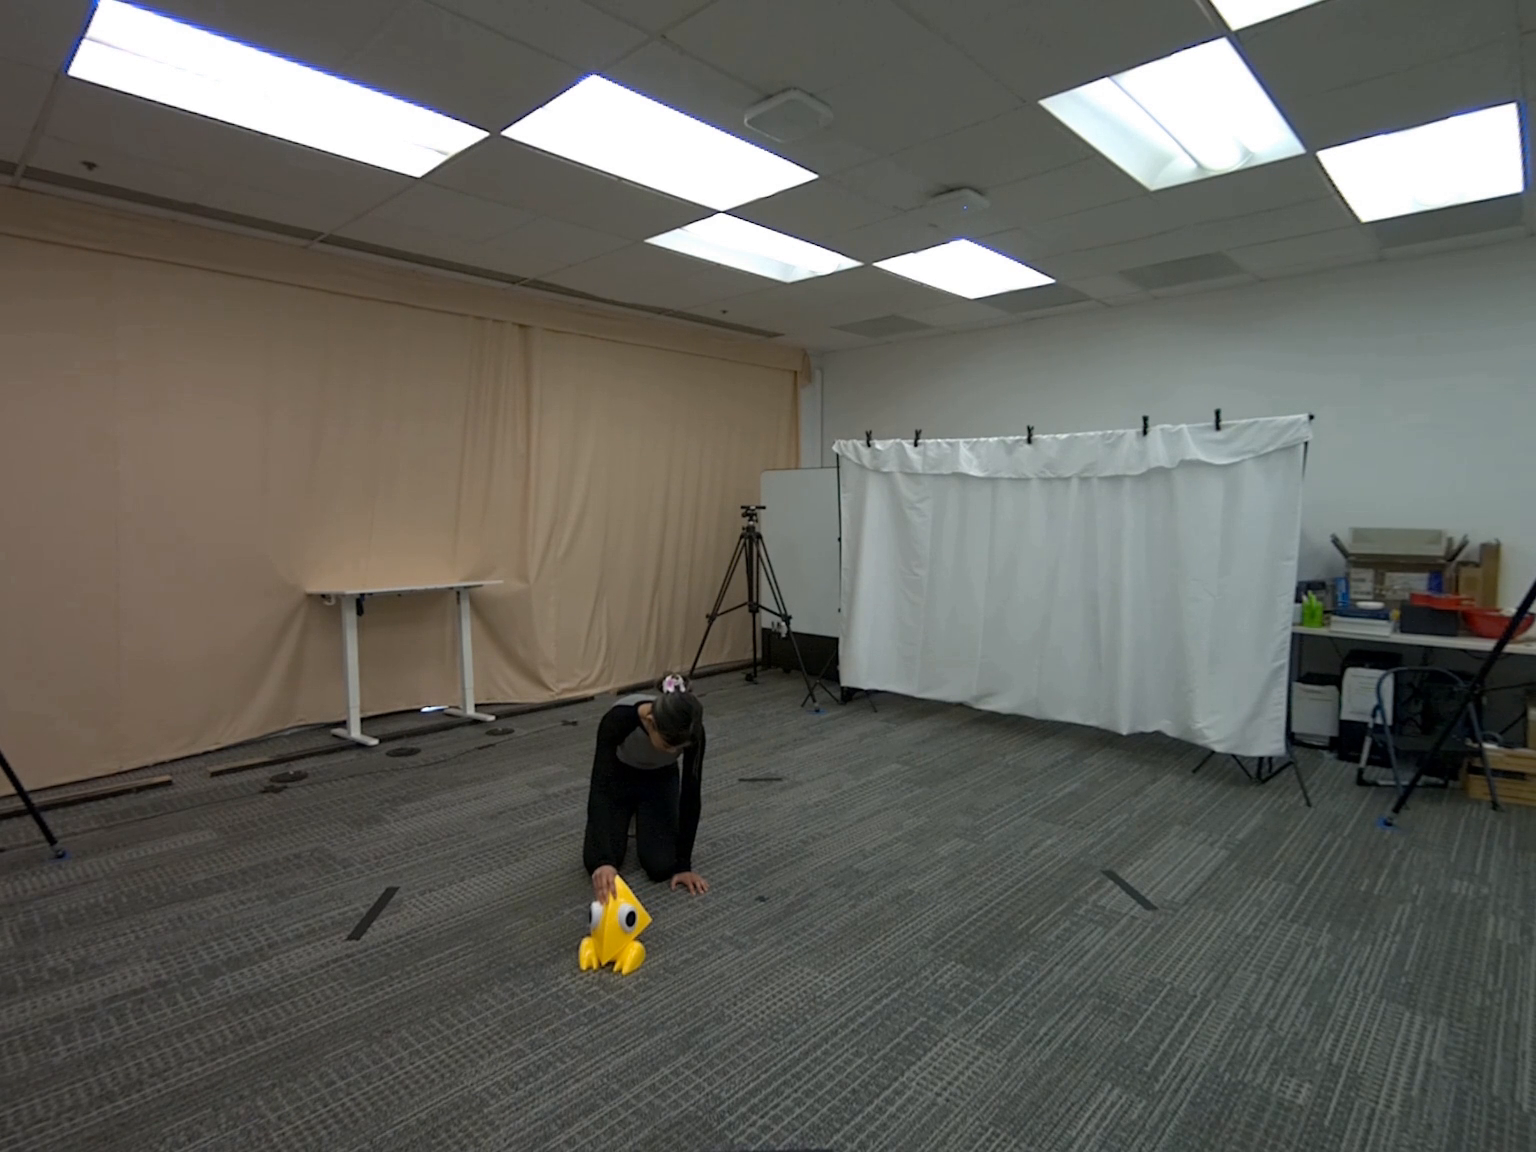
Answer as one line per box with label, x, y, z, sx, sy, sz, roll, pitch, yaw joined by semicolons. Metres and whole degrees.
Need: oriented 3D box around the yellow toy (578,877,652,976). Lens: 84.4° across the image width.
yellow toy;-0.478;1.063;2.594;0.207;0.230;0.191;2;4;9
